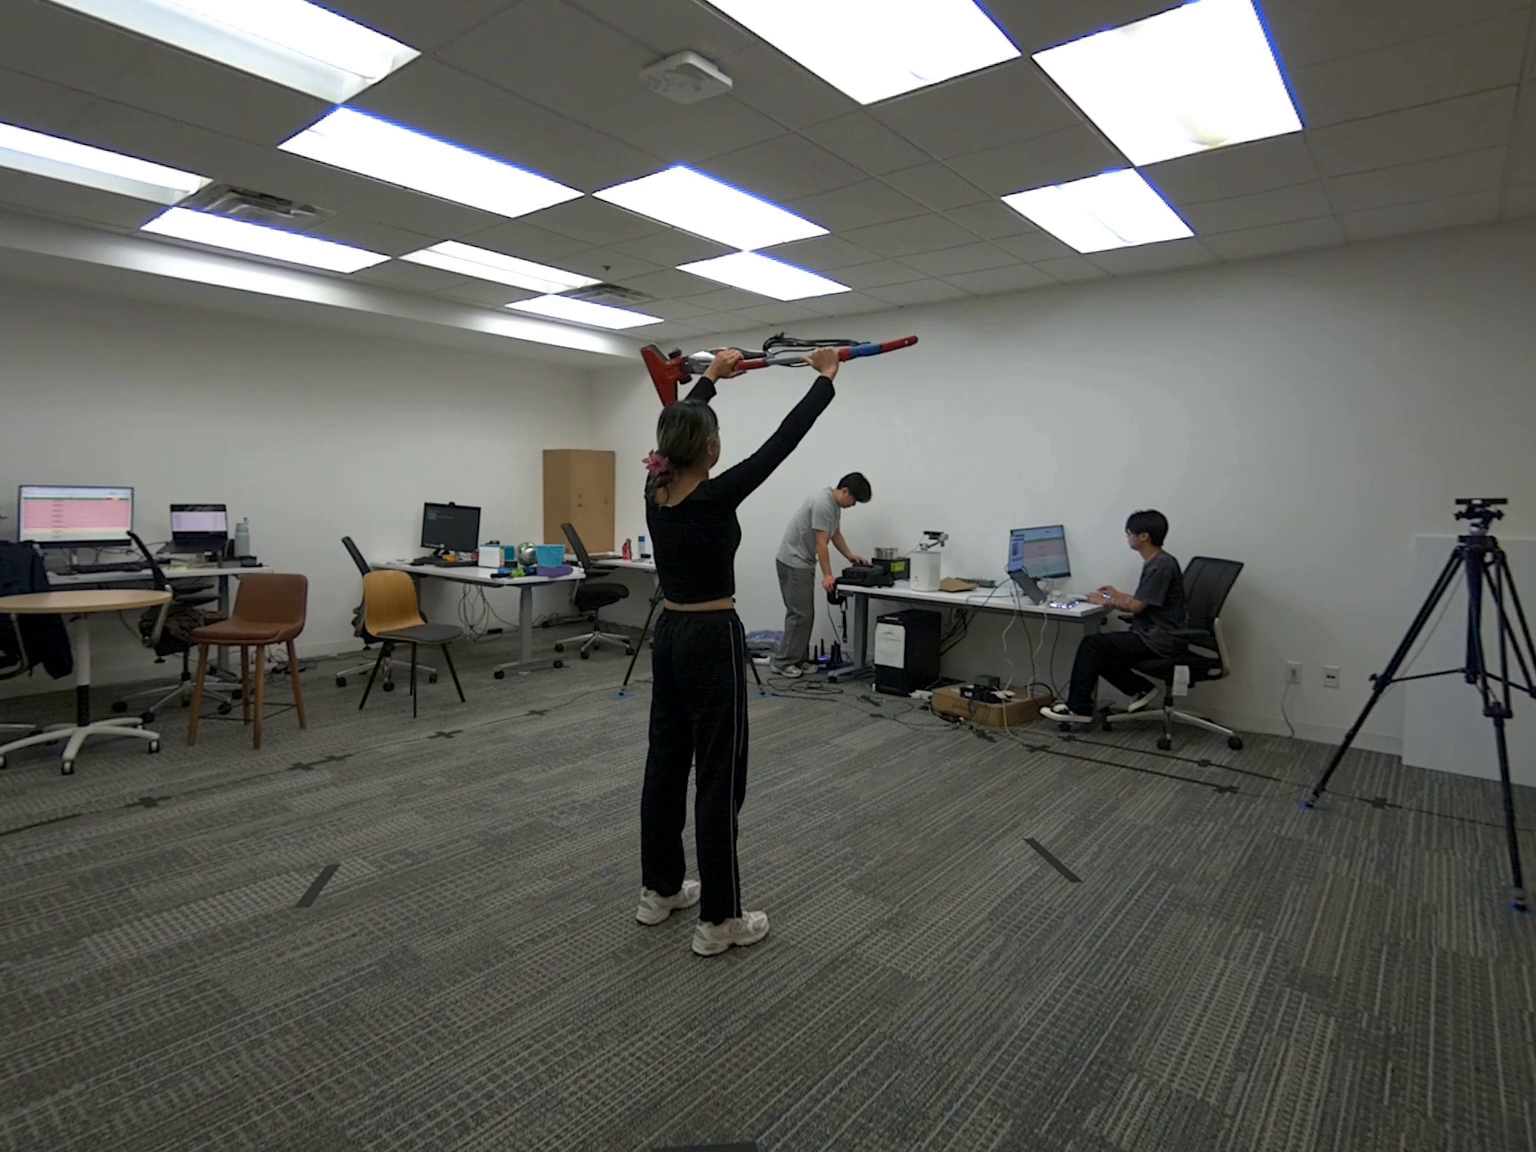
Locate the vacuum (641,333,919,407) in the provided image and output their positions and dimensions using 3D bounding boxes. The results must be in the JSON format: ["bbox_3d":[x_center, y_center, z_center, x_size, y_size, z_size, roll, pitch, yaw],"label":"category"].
[{"bbox_3d":[0.013,-0.744,2.903,1.084,0.245,0.143,4,36,40],"label":"vacuum"}]
